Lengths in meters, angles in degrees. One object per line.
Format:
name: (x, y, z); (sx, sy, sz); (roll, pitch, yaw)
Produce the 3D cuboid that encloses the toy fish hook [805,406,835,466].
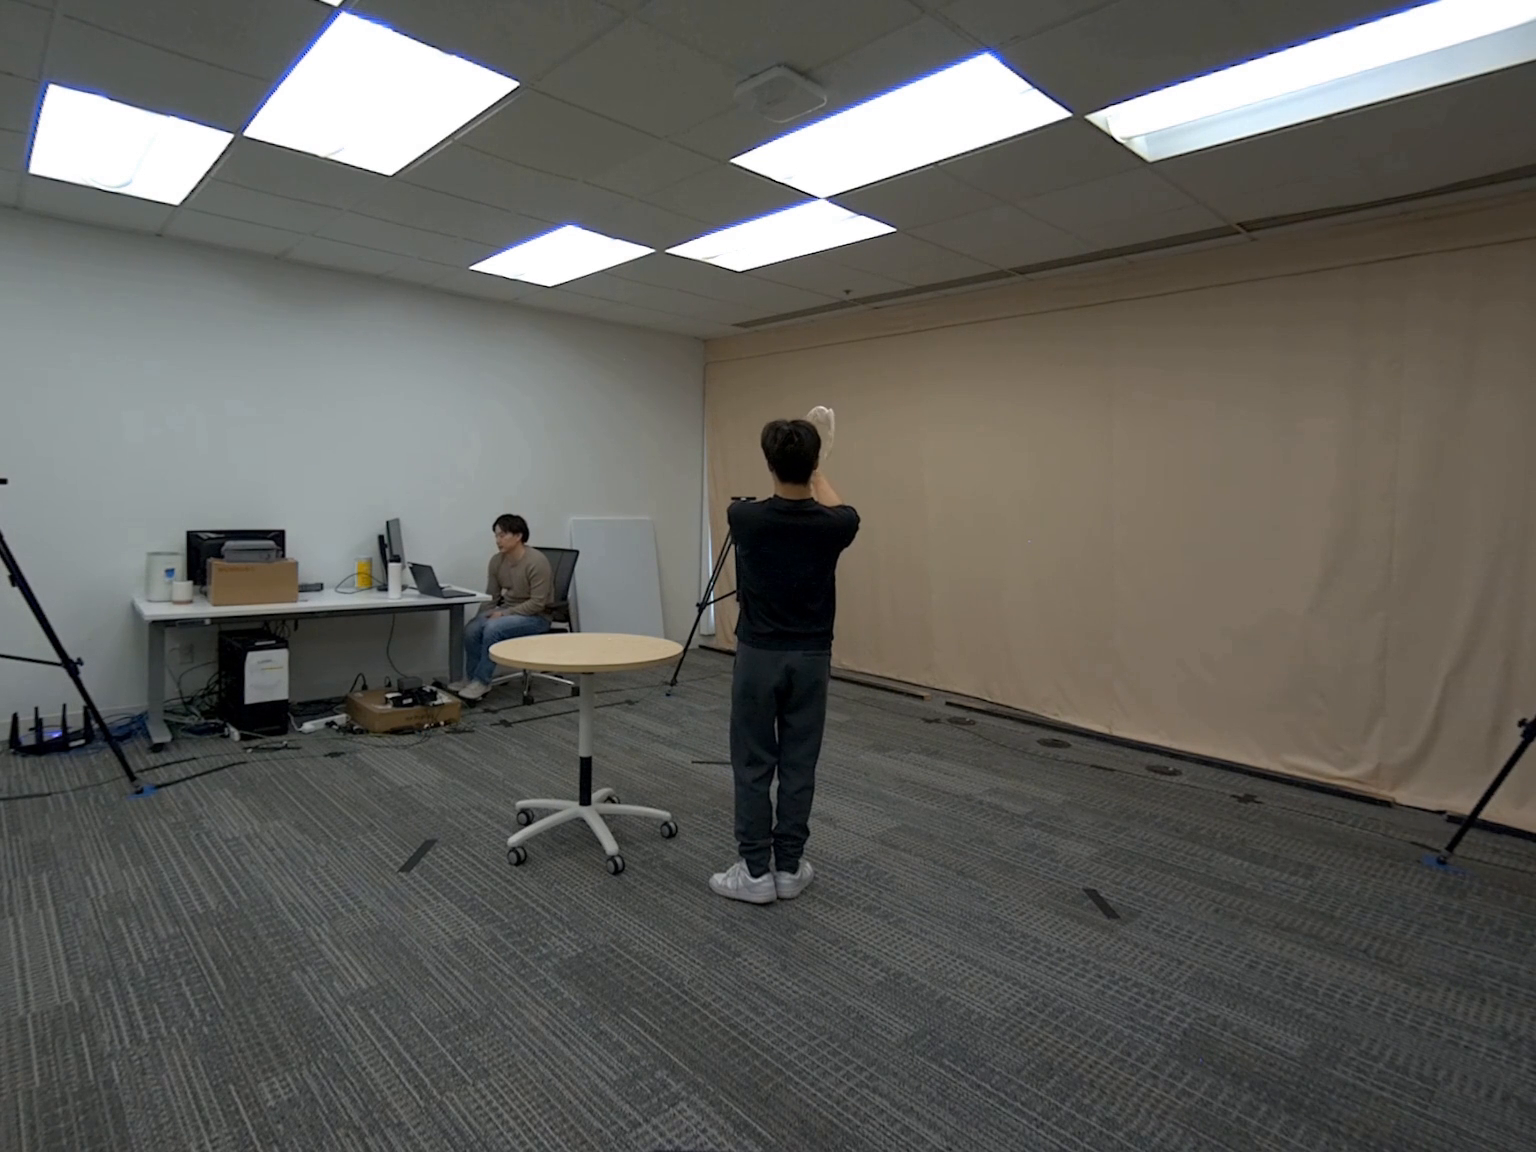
toy fish hook: (0.157, -0.416, 3.319); (0.047, 0.503, 0.230); (7, 12, -26)
